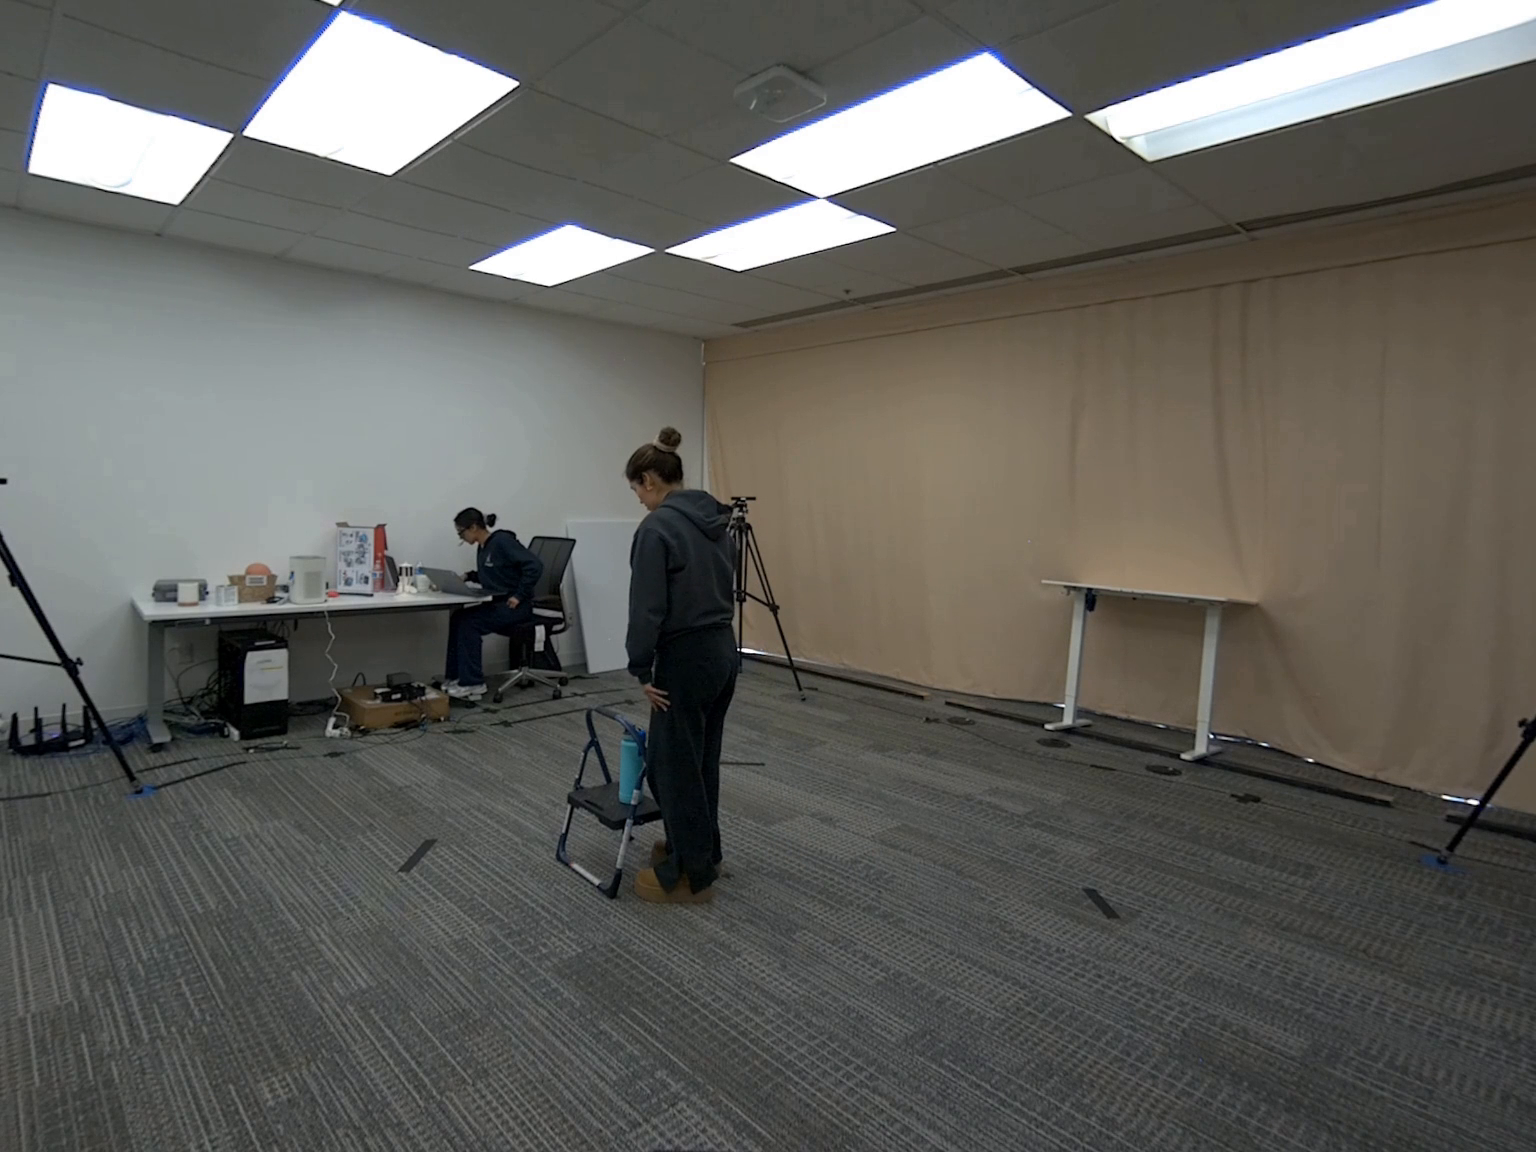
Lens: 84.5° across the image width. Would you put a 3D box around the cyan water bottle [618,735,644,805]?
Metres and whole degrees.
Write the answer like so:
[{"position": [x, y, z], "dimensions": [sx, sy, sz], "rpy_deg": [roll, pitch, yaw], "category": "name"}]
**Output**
[{"position": [-0.501, 0.693, 3.137], "dimensions": [0.092, 0.283, 0.092], "rpy_deg": [3, 2, -2], "category": "cyan water bottle"}]
